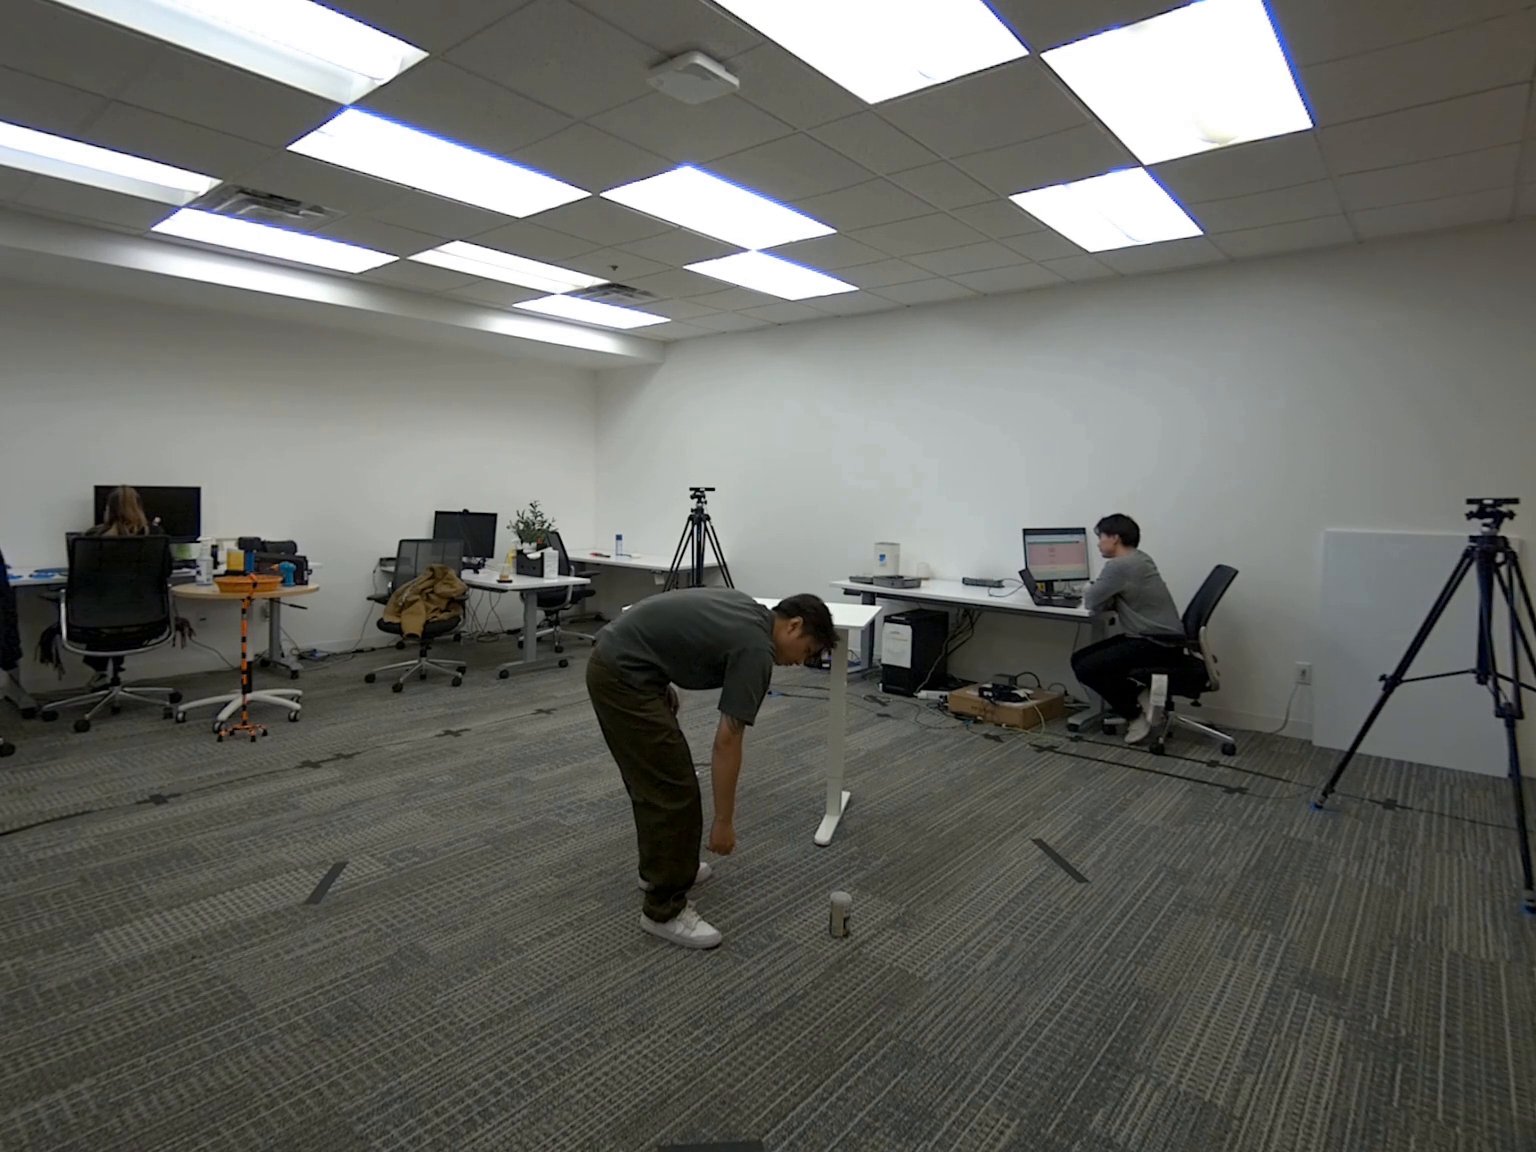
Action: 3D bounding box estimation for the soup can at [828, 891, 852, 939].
[{"bbox_3d":[0.219,1.069,2.661,0.067,0.121,0.067,5,6,-2],"label":"soup can"}]
